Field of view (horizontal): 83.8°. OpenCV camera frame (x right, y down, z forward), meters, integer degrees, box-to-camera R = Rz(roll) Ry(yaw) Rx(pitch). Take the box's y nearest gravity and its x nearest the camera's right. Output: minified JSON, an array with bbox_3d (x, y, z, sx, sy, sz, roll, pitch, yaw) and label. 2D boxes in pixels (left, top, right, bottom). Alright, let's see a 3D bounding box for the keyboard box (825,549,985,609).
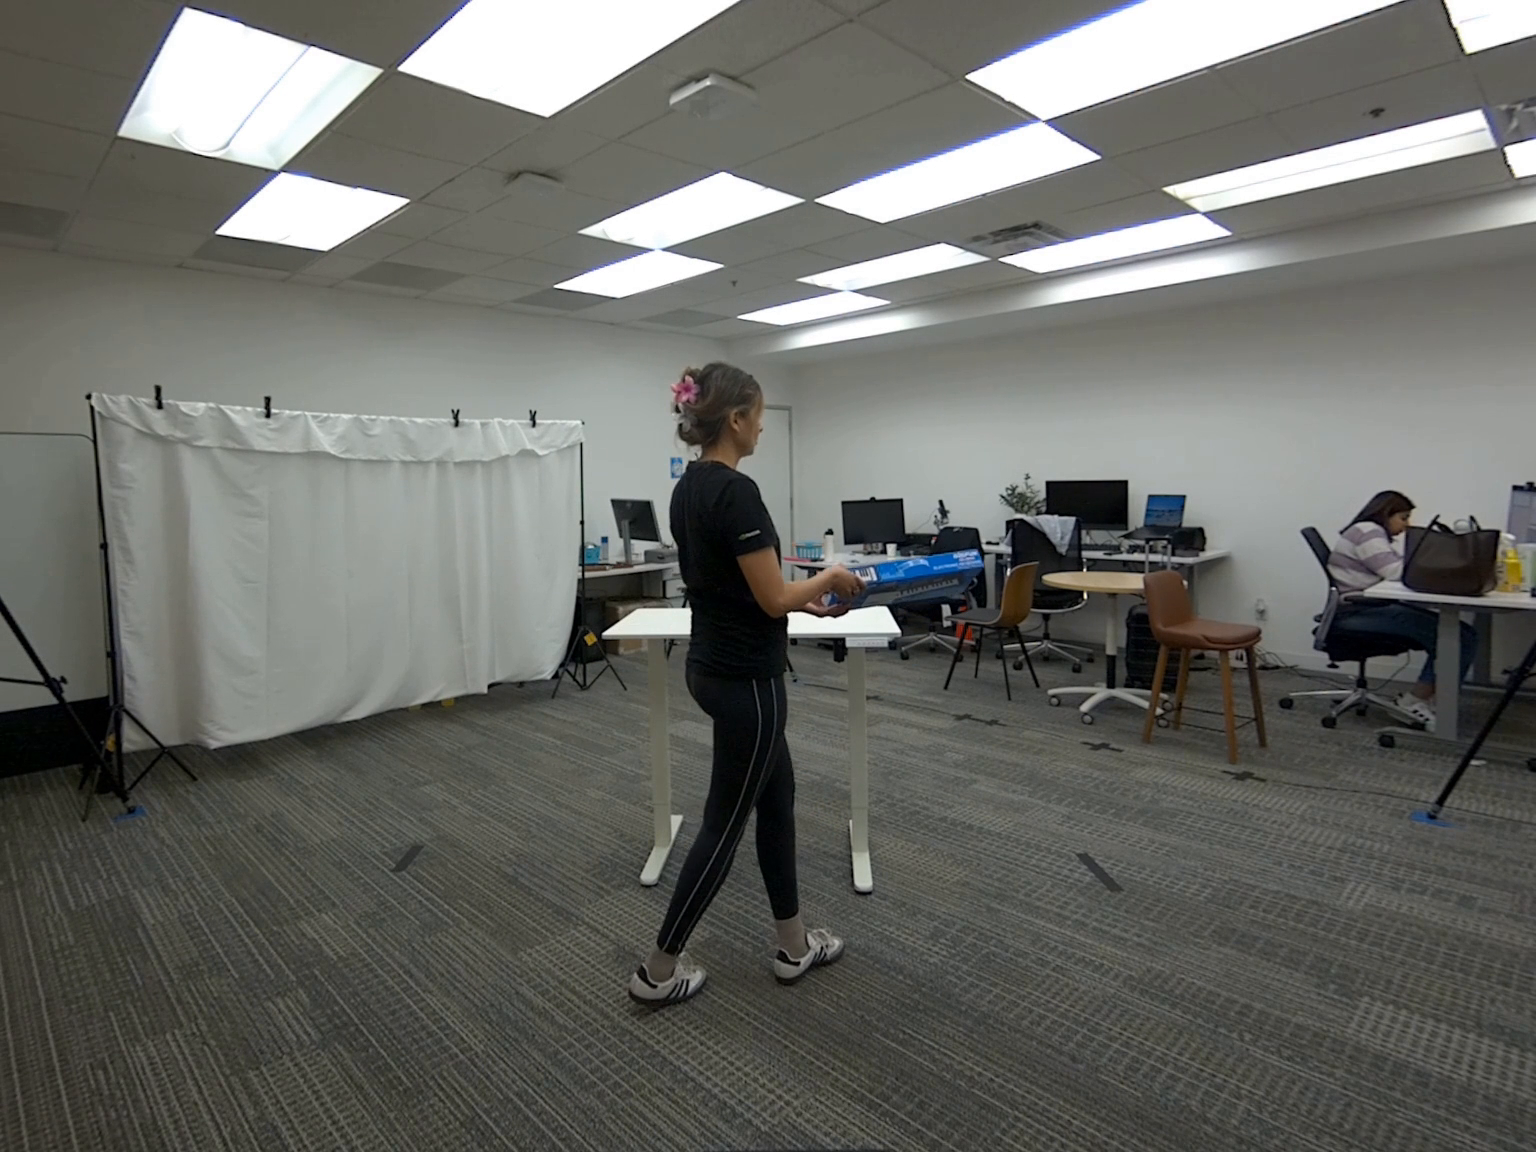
[{"bbox_3d":[0.411,0.019,2.501,0.431,0.061,0.173,-8,-27,-15],"label":"keyboard box"}]
